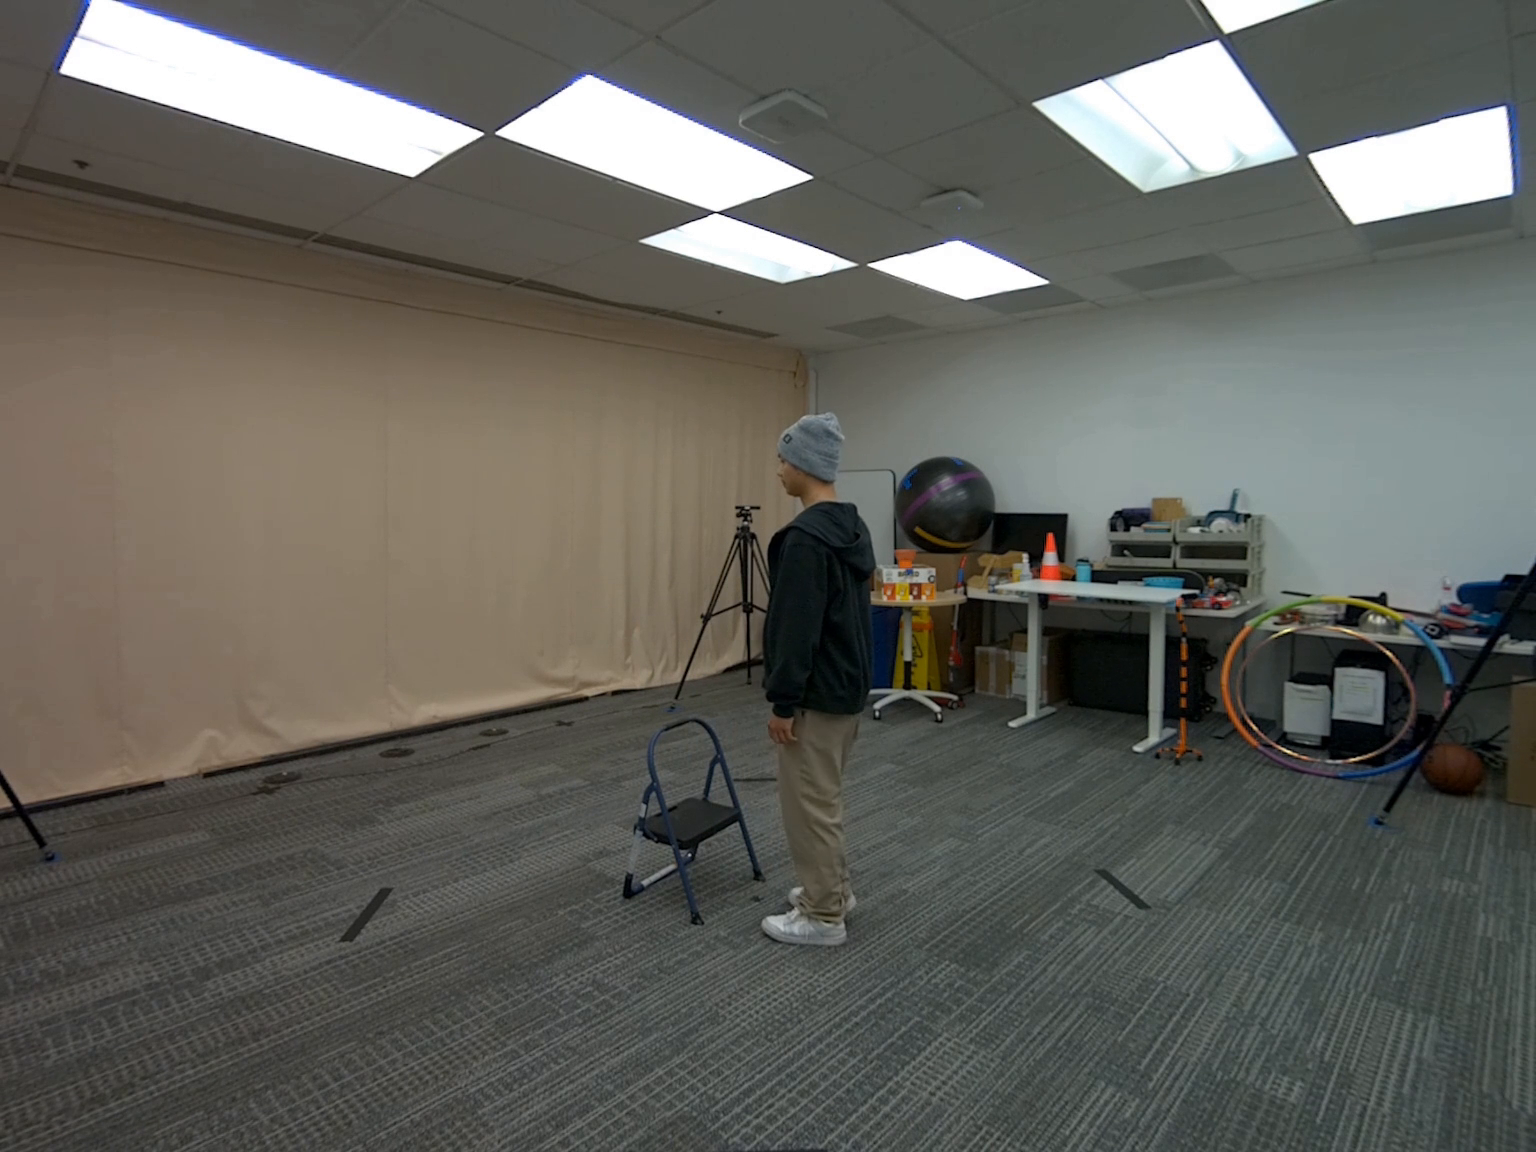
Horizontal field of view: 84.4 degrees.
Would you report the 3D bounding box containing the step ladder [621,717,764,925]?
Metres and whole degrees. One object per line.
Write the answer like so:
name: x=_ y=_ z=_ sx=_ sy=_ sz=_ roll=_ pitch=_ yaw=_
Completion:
step ladder: x=-0.268 y=0.837 z=3.055 sx=0.360 sy=0.605 sz=0.418 roll=2 pitch=4 yaw=33
